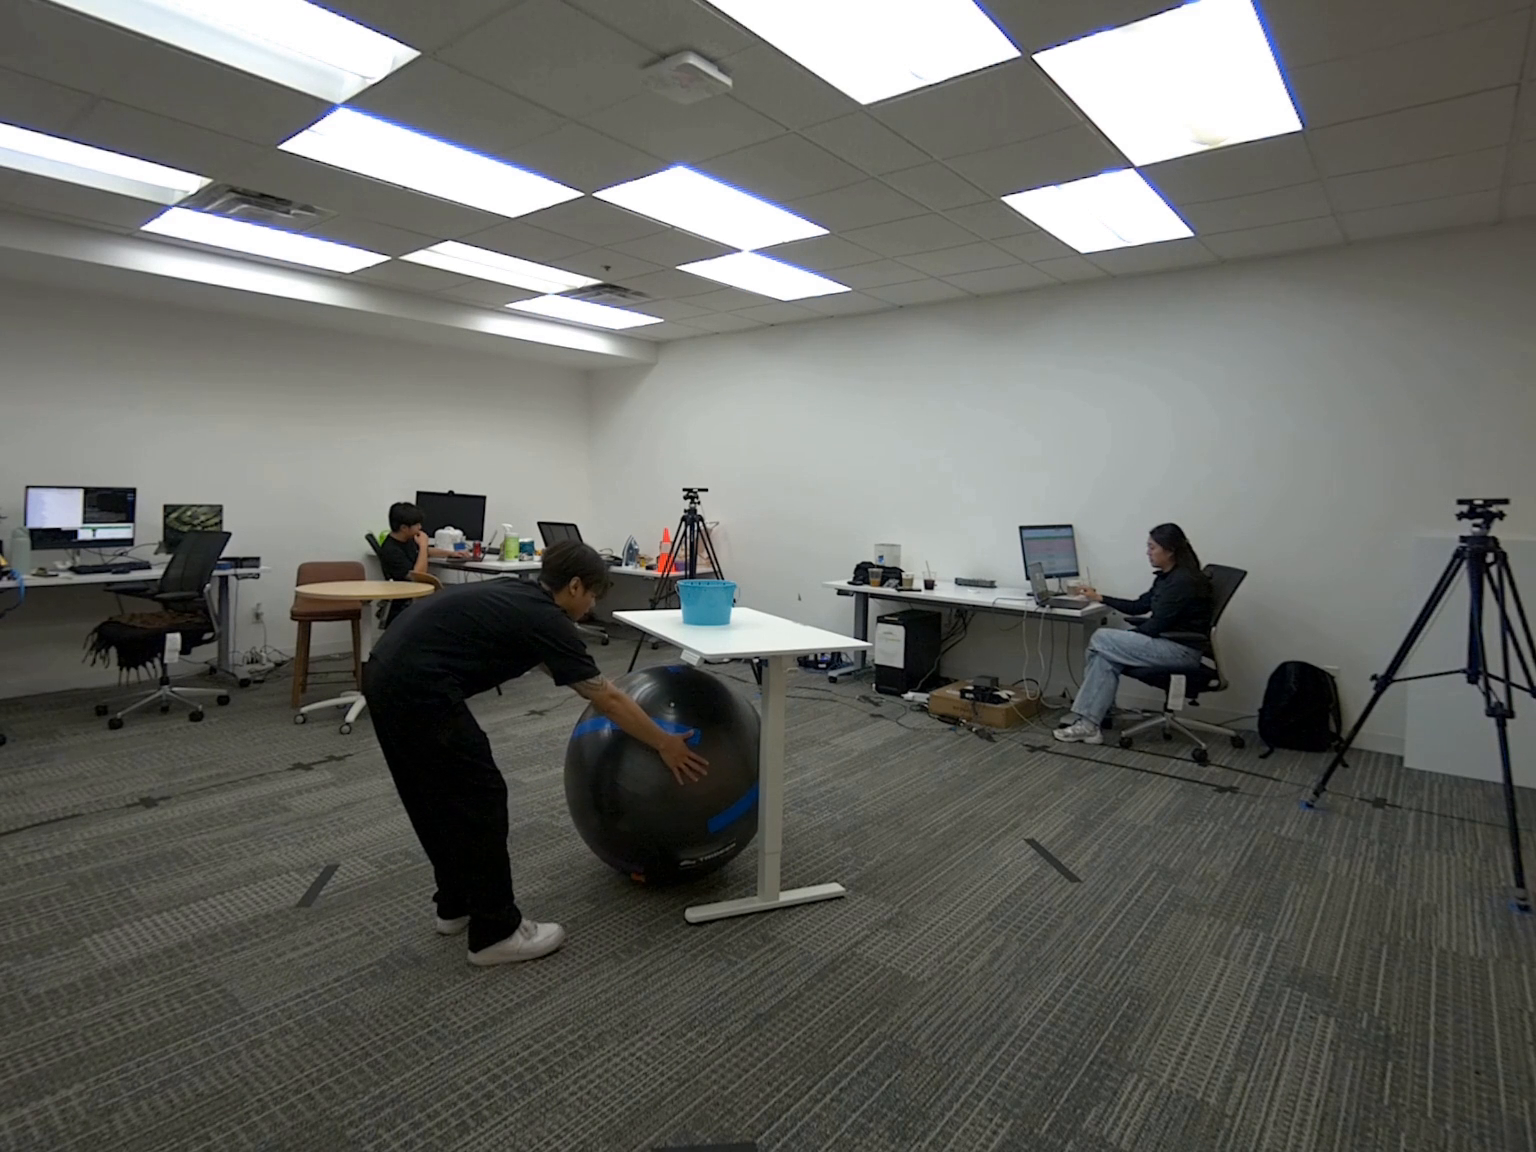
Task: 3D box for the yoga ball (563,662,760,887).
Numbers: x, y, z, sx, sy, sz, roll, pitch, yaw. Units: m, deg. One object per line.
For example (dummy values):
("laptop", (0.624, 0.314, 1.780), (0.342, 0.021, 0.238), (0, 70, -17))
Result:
("yoga ball", (-0.364, 0.703, 3.075), (0.757, 0.756, 0.762), (1, 4, -2))
